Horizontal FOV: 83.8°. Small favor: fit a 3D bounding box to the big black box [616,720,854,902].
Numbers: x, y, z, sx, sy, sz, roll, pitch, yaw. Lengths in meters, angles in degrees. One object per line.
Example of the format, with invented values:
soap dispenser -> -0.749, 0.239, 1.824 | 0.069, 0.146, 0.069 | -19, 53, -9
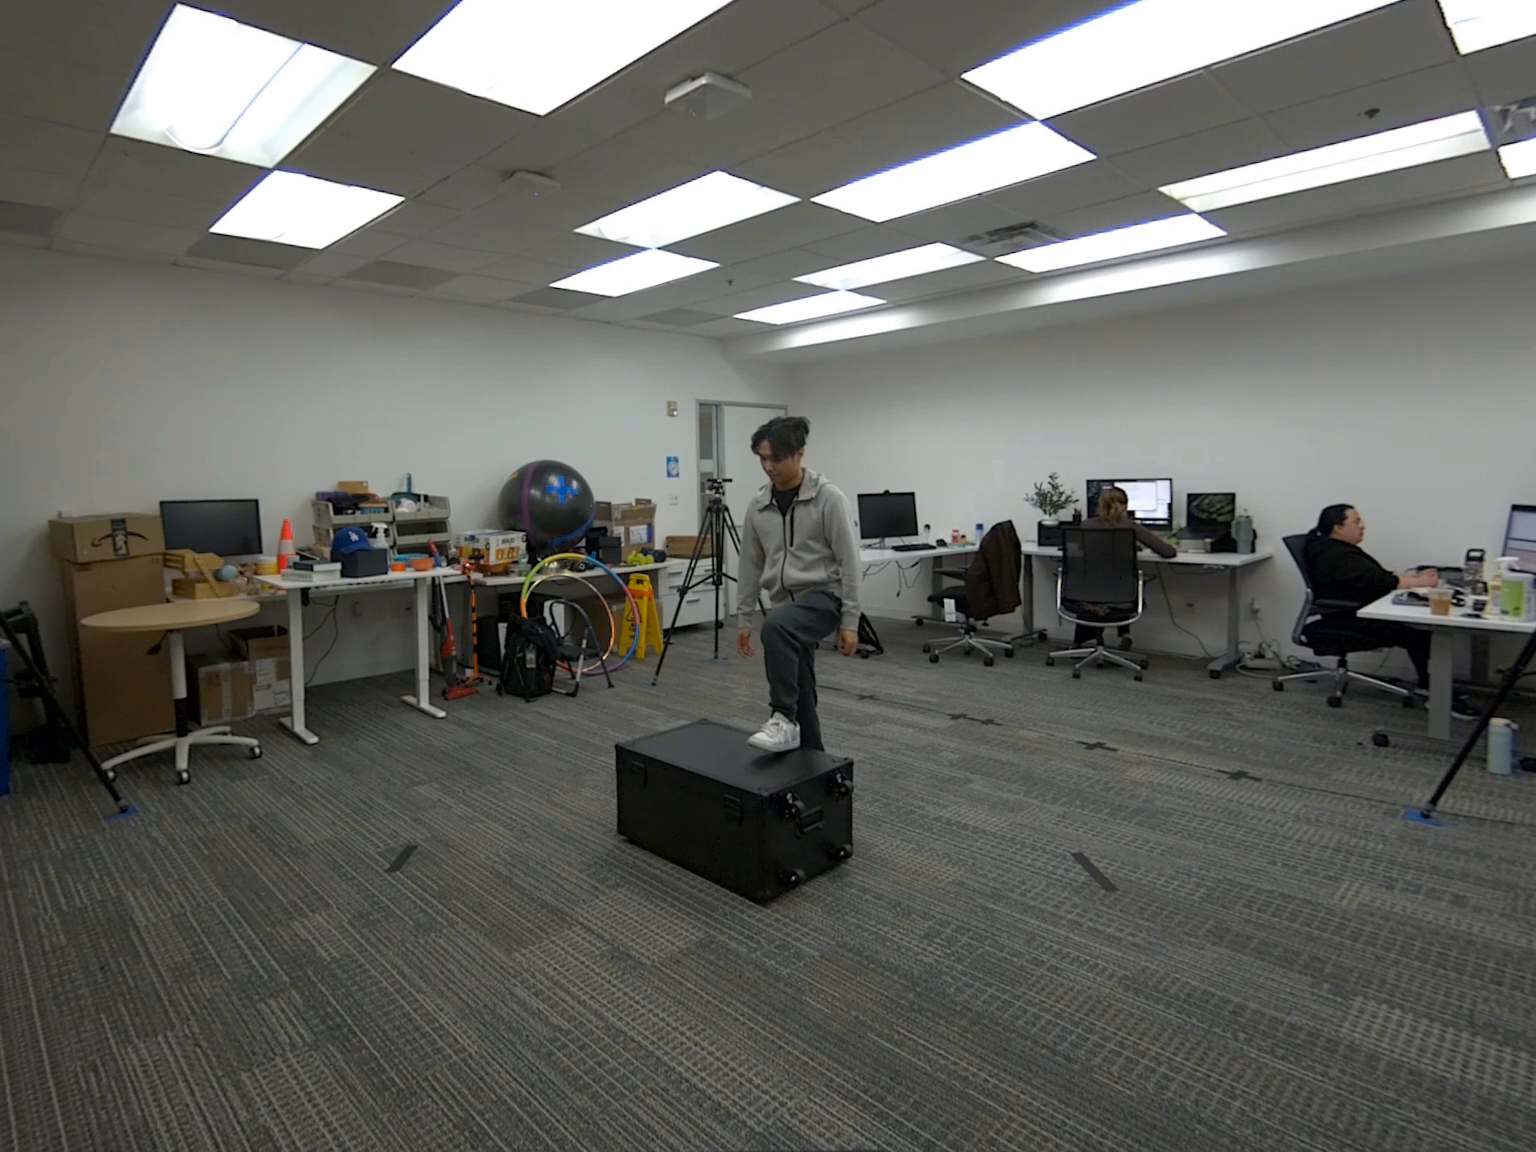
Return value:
big black box -> -0.118, 0.846, 3.184 | 0.888, 0.395, 0.507 | 4, 7, 44
